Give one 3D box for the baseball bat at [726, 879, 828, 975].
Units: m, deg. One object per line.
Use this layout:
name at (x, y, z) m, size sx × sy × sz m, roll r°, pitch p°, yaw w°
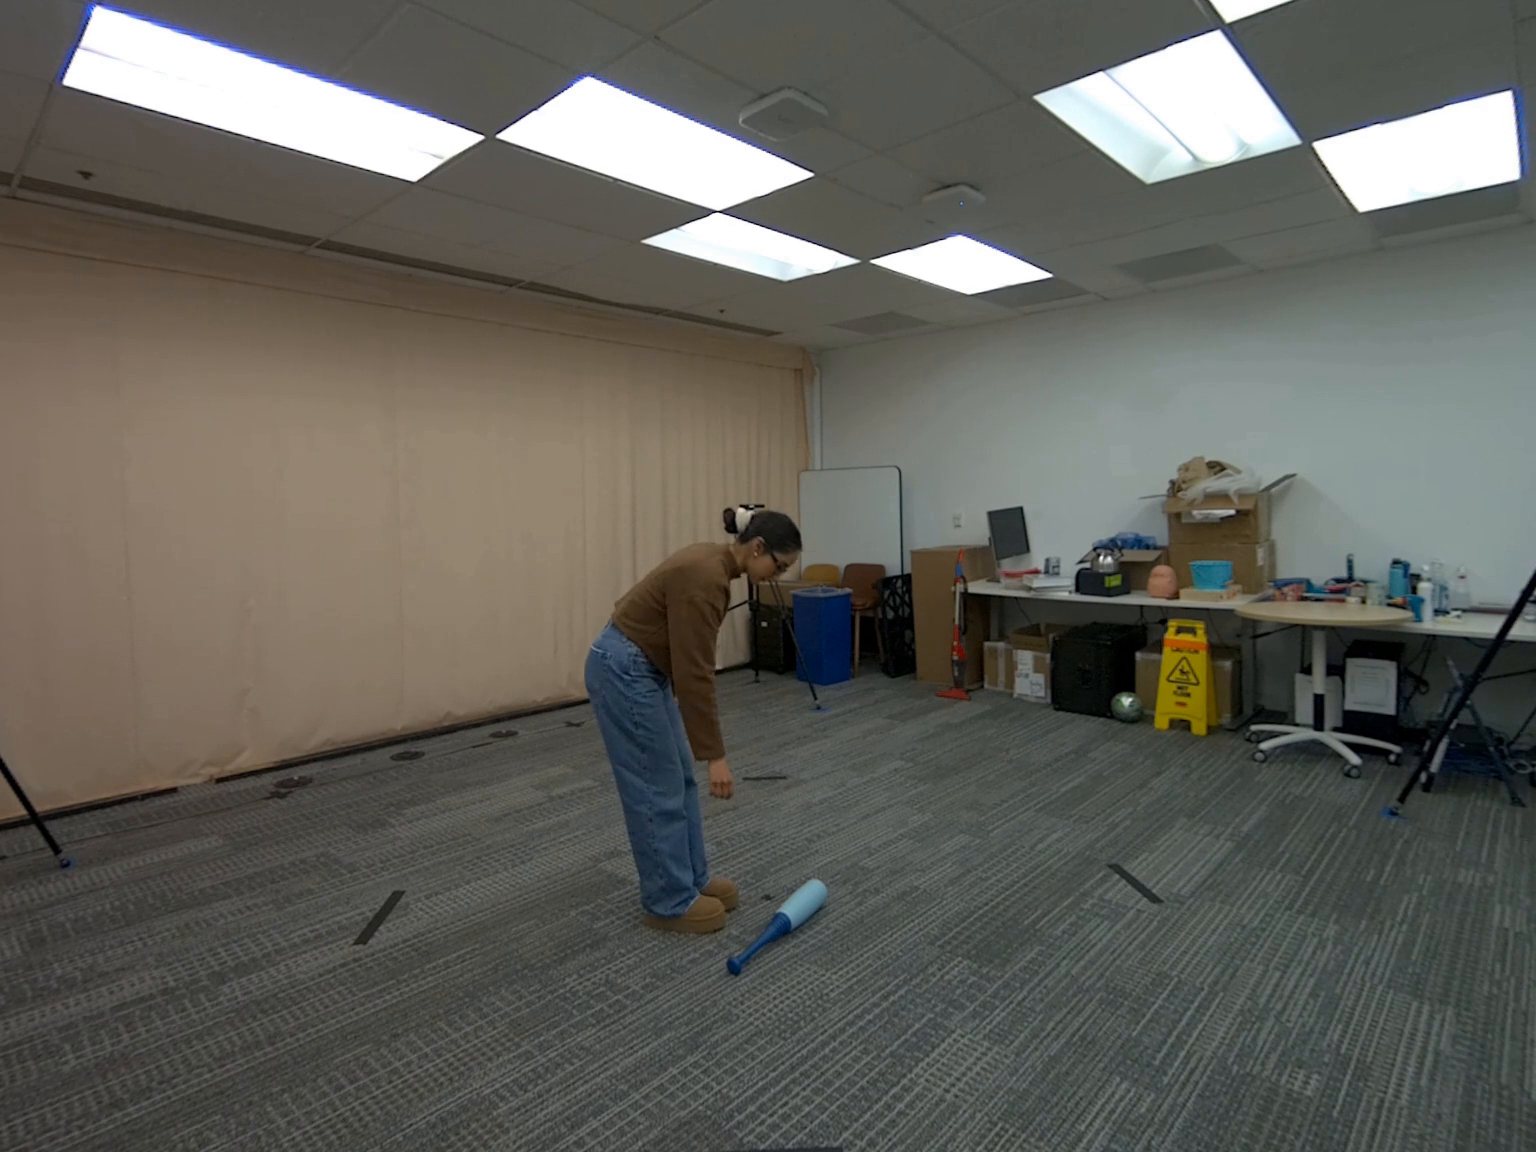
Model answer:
baseball bat at (0.038, 1.128, 2.706) m, size 0.092 × 0.088 × 0.529 m, roll 2°, pitch 9°, yaw 32°
